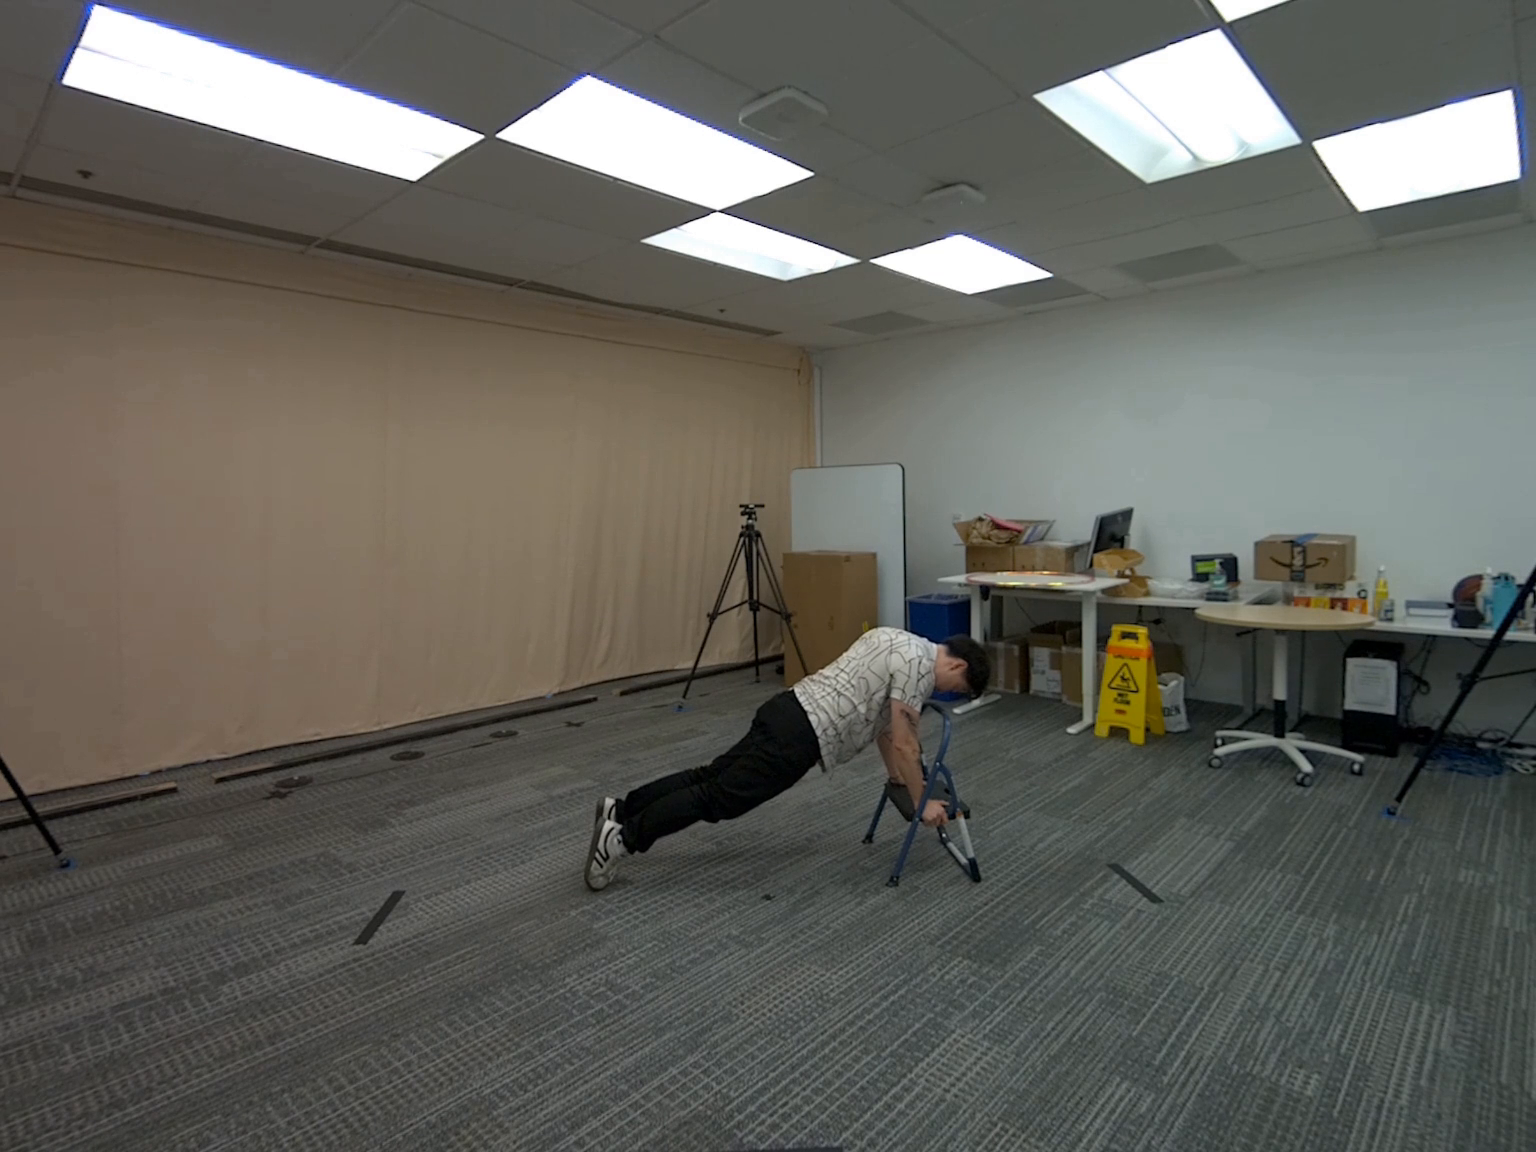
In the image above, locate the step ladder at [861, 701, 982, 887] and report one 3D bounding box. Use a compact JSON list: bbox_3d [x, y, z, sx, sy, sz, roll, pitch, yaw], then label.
[{"bbox_3d":[0.586,0.808,3.248,0.348,0.604,0.434,-2,4,-5],"label":"step ladder"}]
